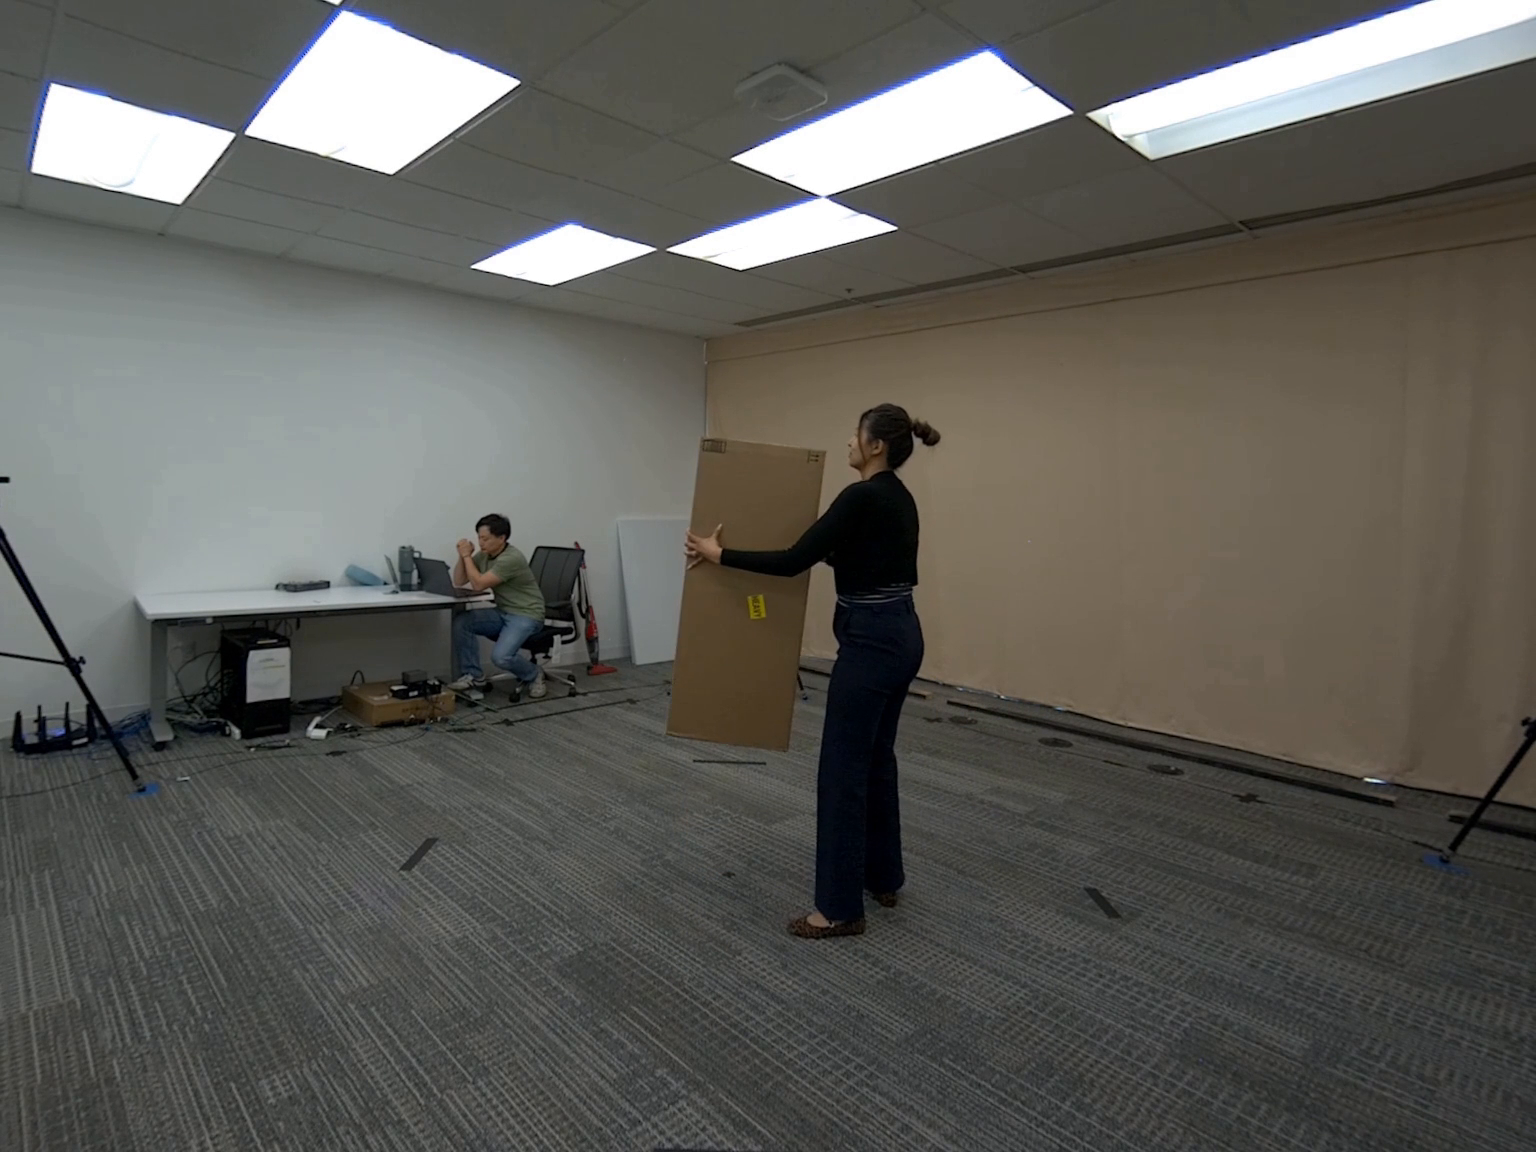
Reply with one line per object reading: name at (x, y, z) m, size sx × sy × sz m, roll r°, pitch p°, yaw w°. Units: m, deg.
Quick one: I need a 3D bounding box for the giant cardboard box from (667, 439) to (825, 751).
giant cardboard box at (-0.082, 0.036, 3.102) m, size 0.426 × 1.023 × 0.579 m, roll 7°, pitch 5°, yaw 0°
